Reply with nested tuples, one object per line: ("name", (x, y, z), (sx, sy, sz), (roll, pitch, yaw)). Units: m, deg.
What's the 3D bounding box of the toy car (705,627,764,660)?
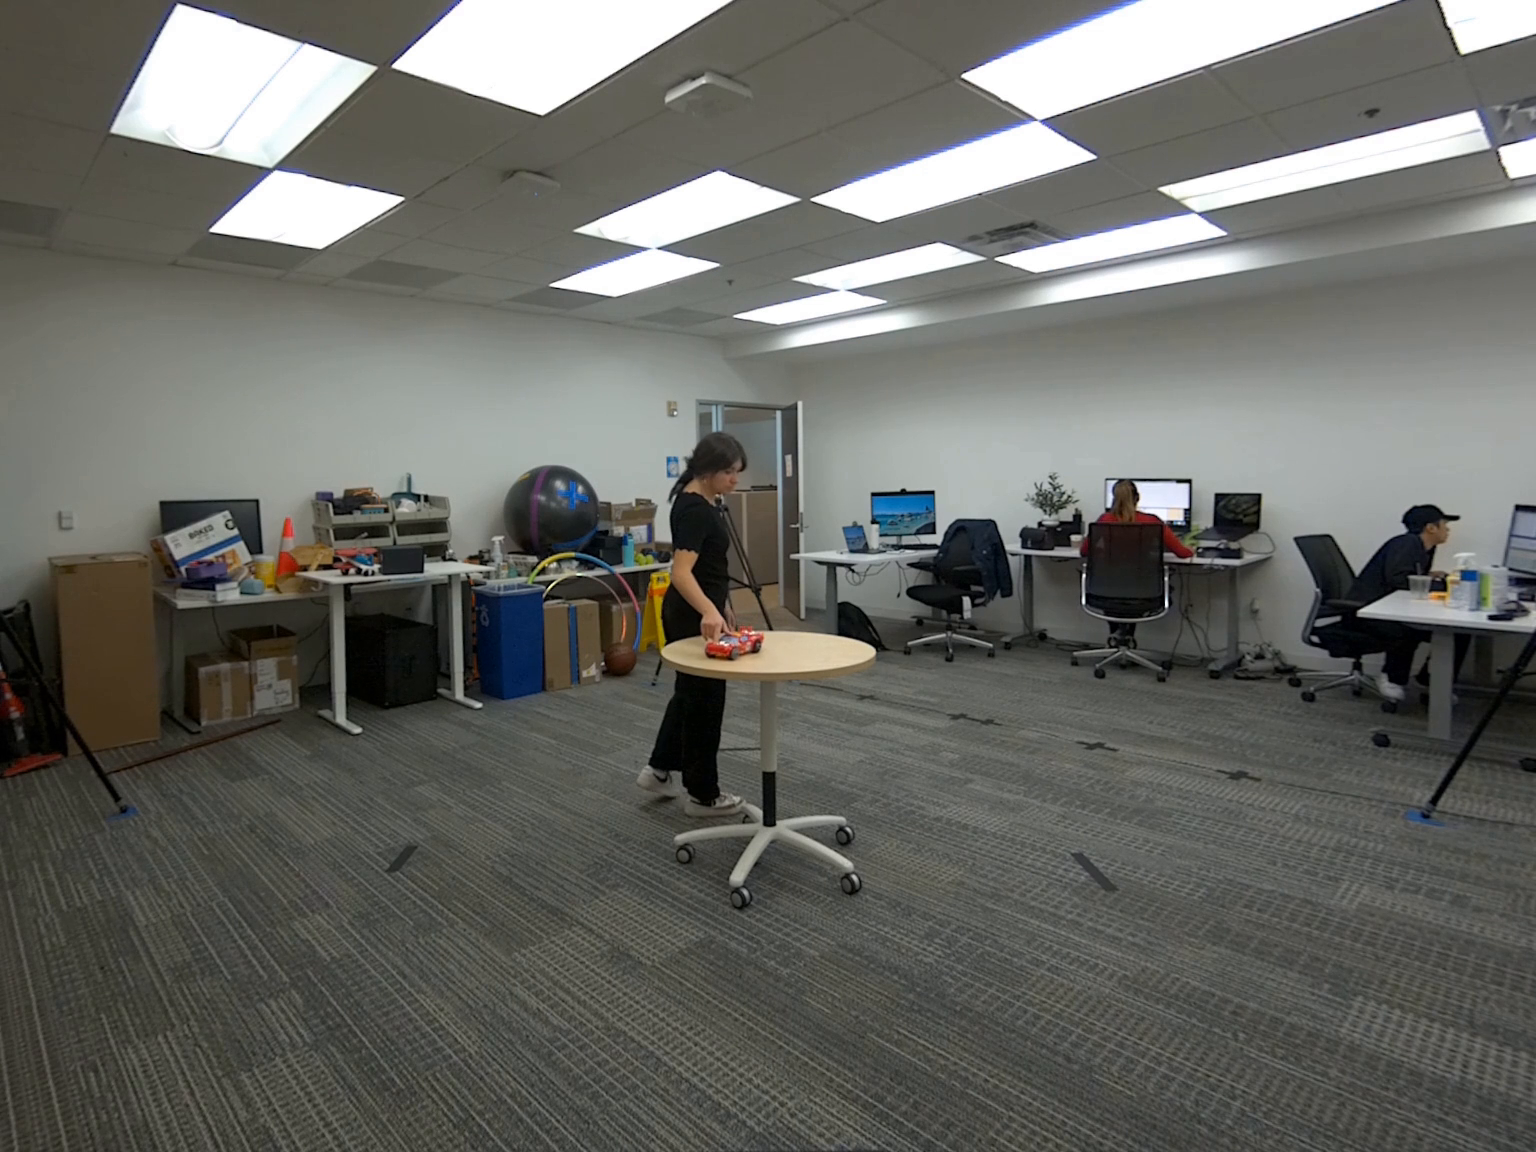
("toy car", (-0.099, 0.242, 2.990), (0.133, 0.082, 0.252), (1, 18, 27))
